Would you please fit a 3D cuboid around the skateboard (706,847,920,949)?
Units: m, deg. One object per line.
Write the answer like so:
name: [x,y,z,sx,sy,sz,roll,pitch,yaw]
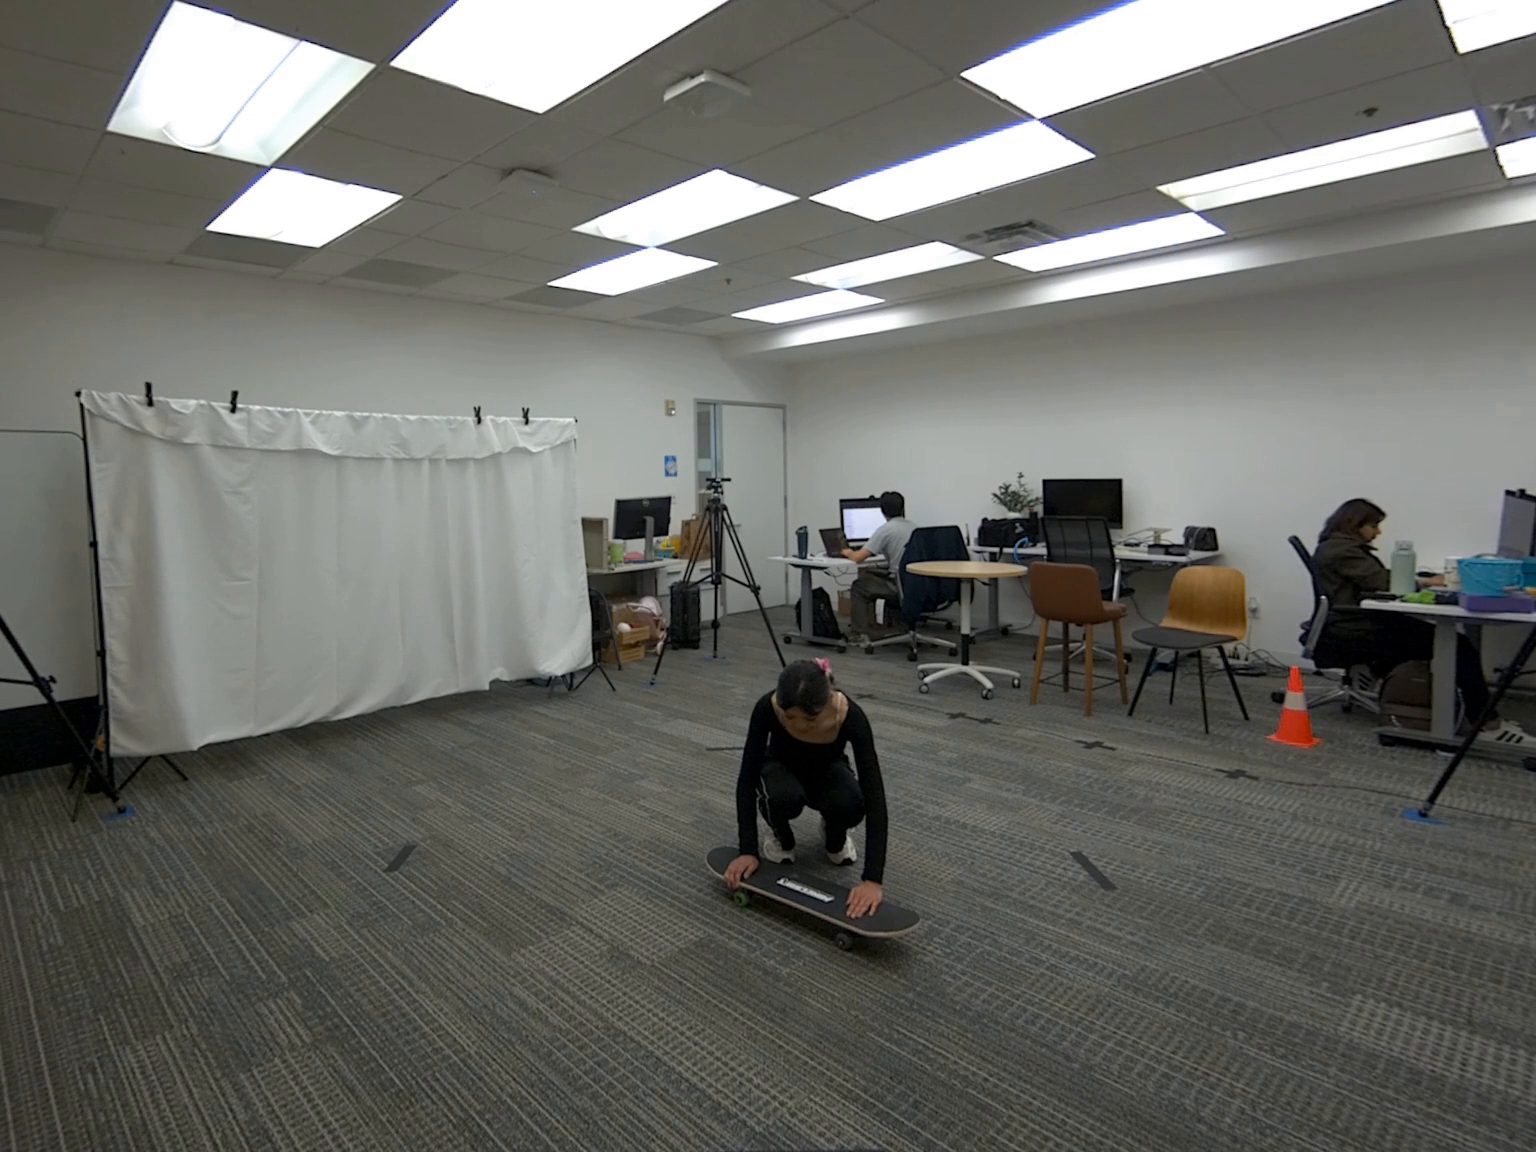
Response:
skateboard: [0.116,1.028,2.720,0.809,0.110,0.188,5,8,40]
